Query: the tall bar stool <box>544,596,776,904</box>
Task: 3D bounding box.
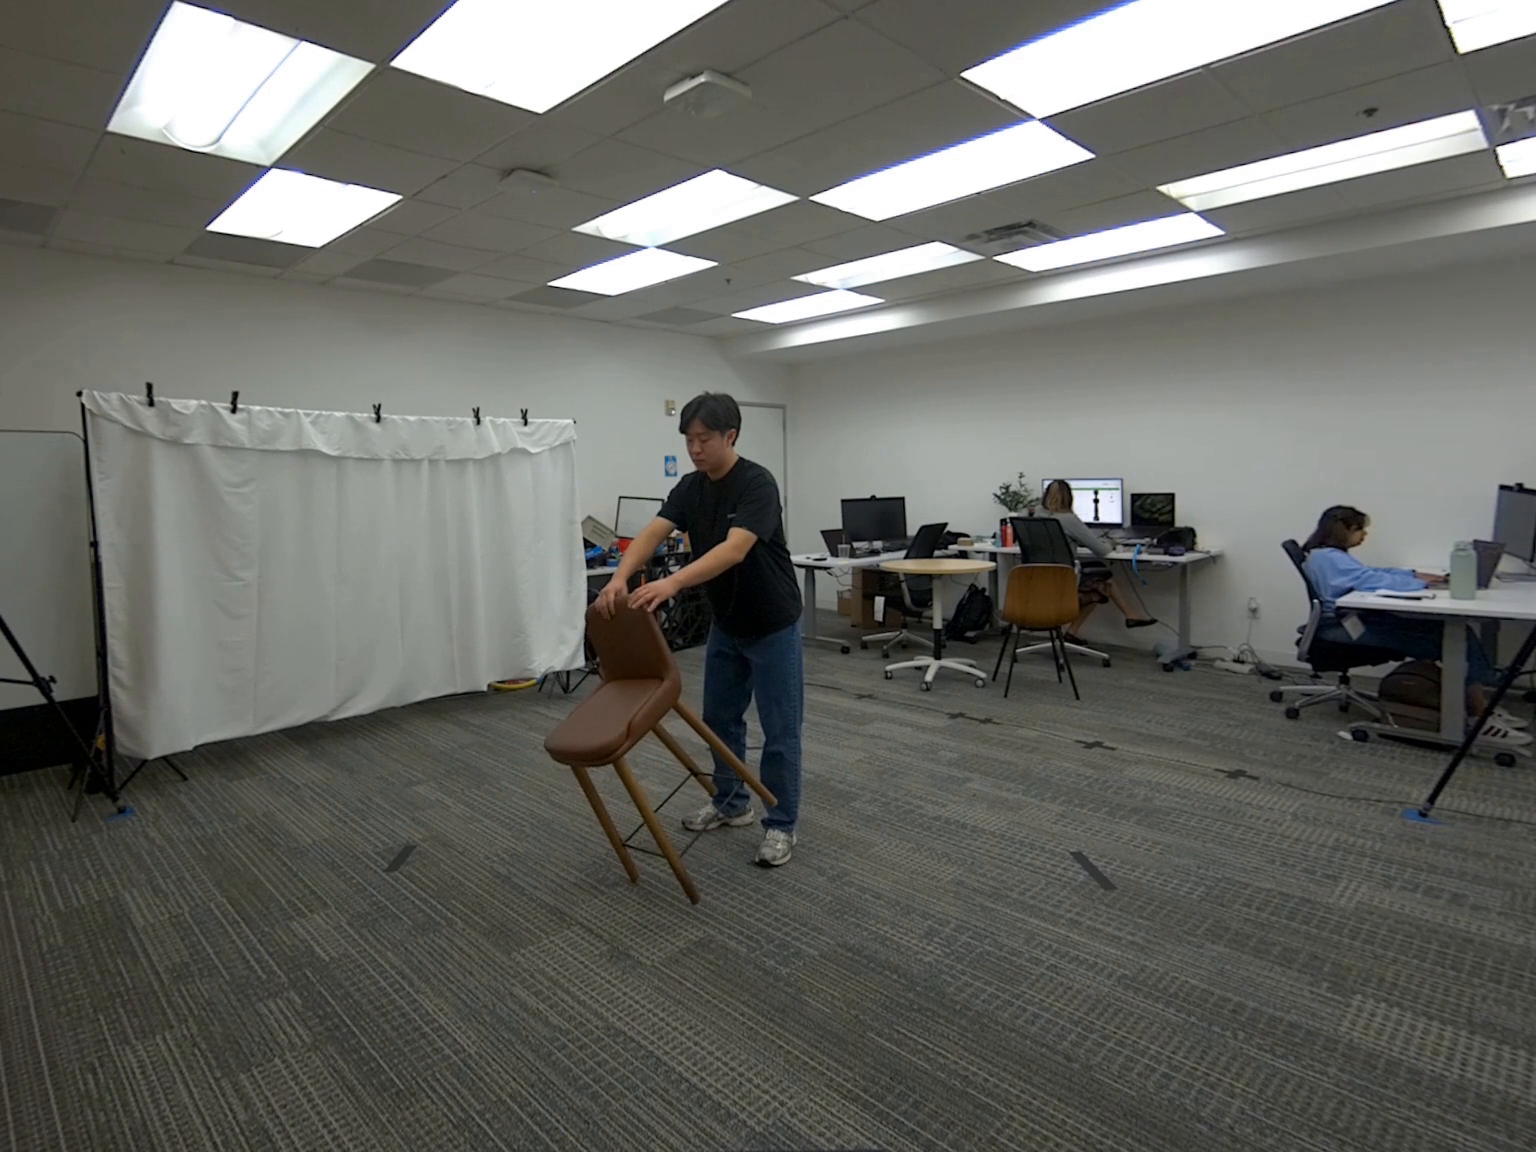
[{"bbox_3d":[-0.427,0.563,2.844,0.465,0.875,0.467,-38,16,-35],"label":"tall bar stool"}]
